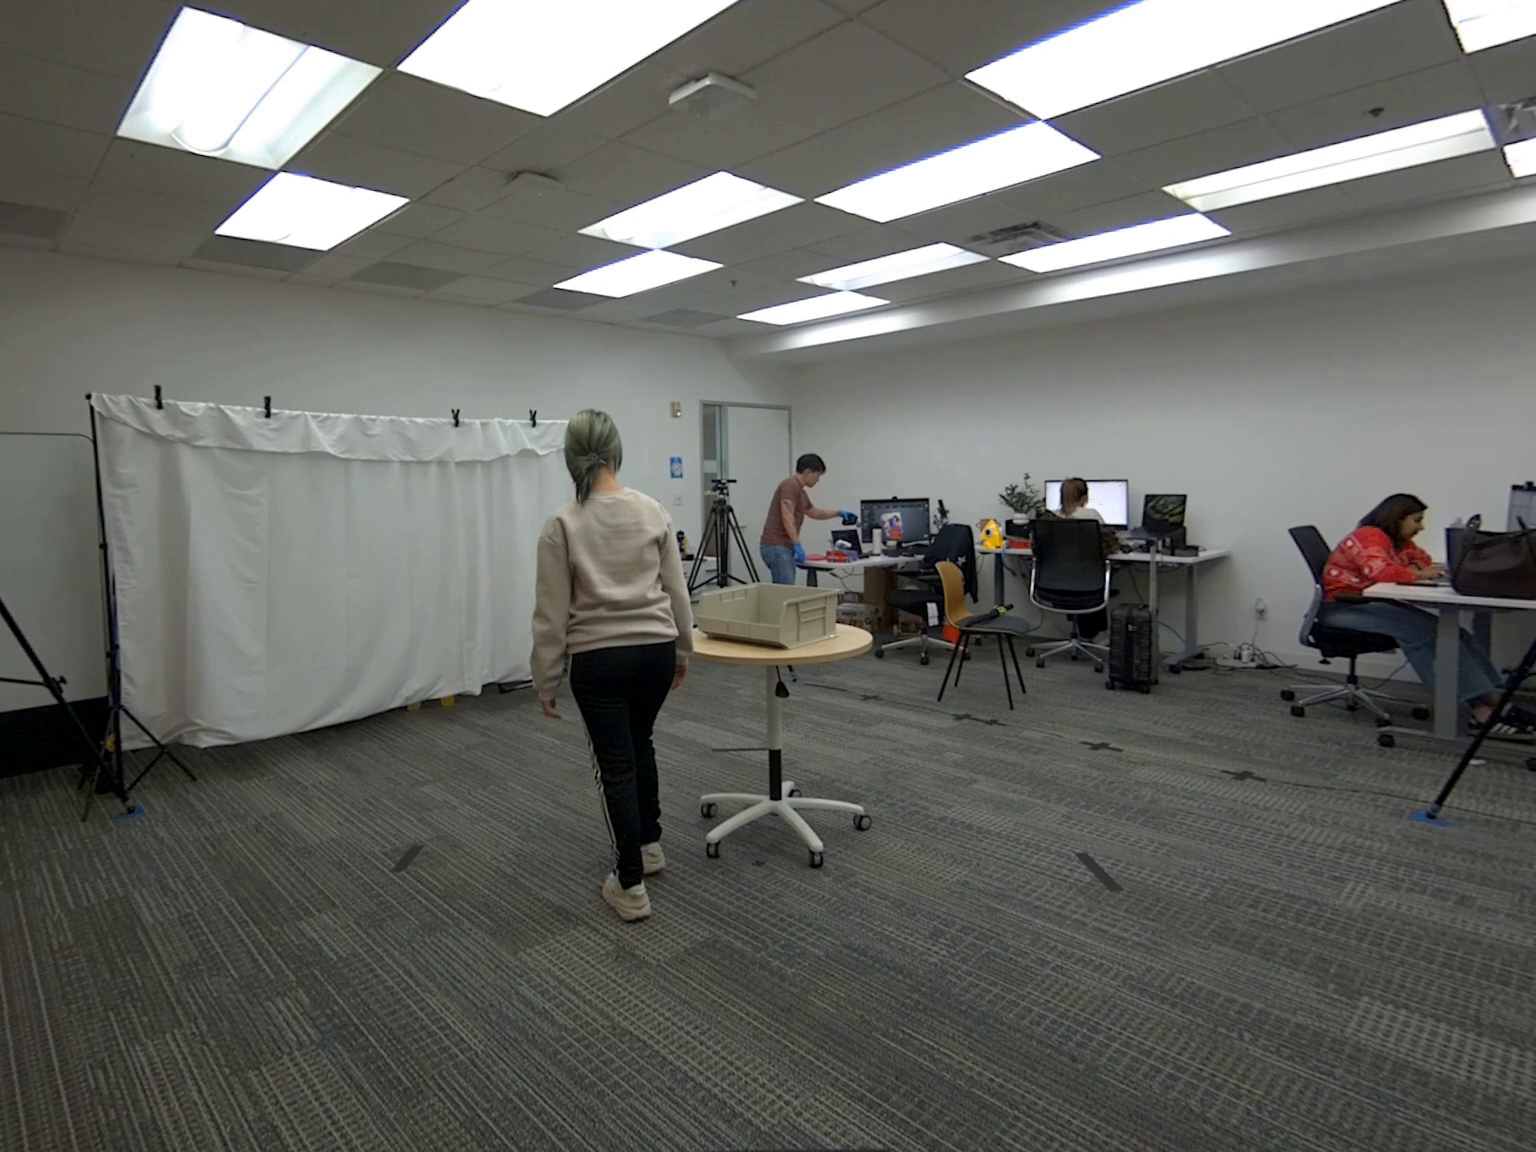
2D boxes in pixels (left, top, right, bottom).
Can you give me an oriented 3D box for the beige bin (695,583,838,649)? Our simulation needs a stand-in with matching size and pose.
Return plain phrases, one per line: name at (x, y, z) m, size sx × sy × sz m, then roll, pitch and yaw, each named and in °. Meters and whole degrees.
beige bin at (0.002, 0.151, 3.300) m, size 0.435 × 0.188 × 0.367 m, roll 4°, pitch 7°, yaw 41°
